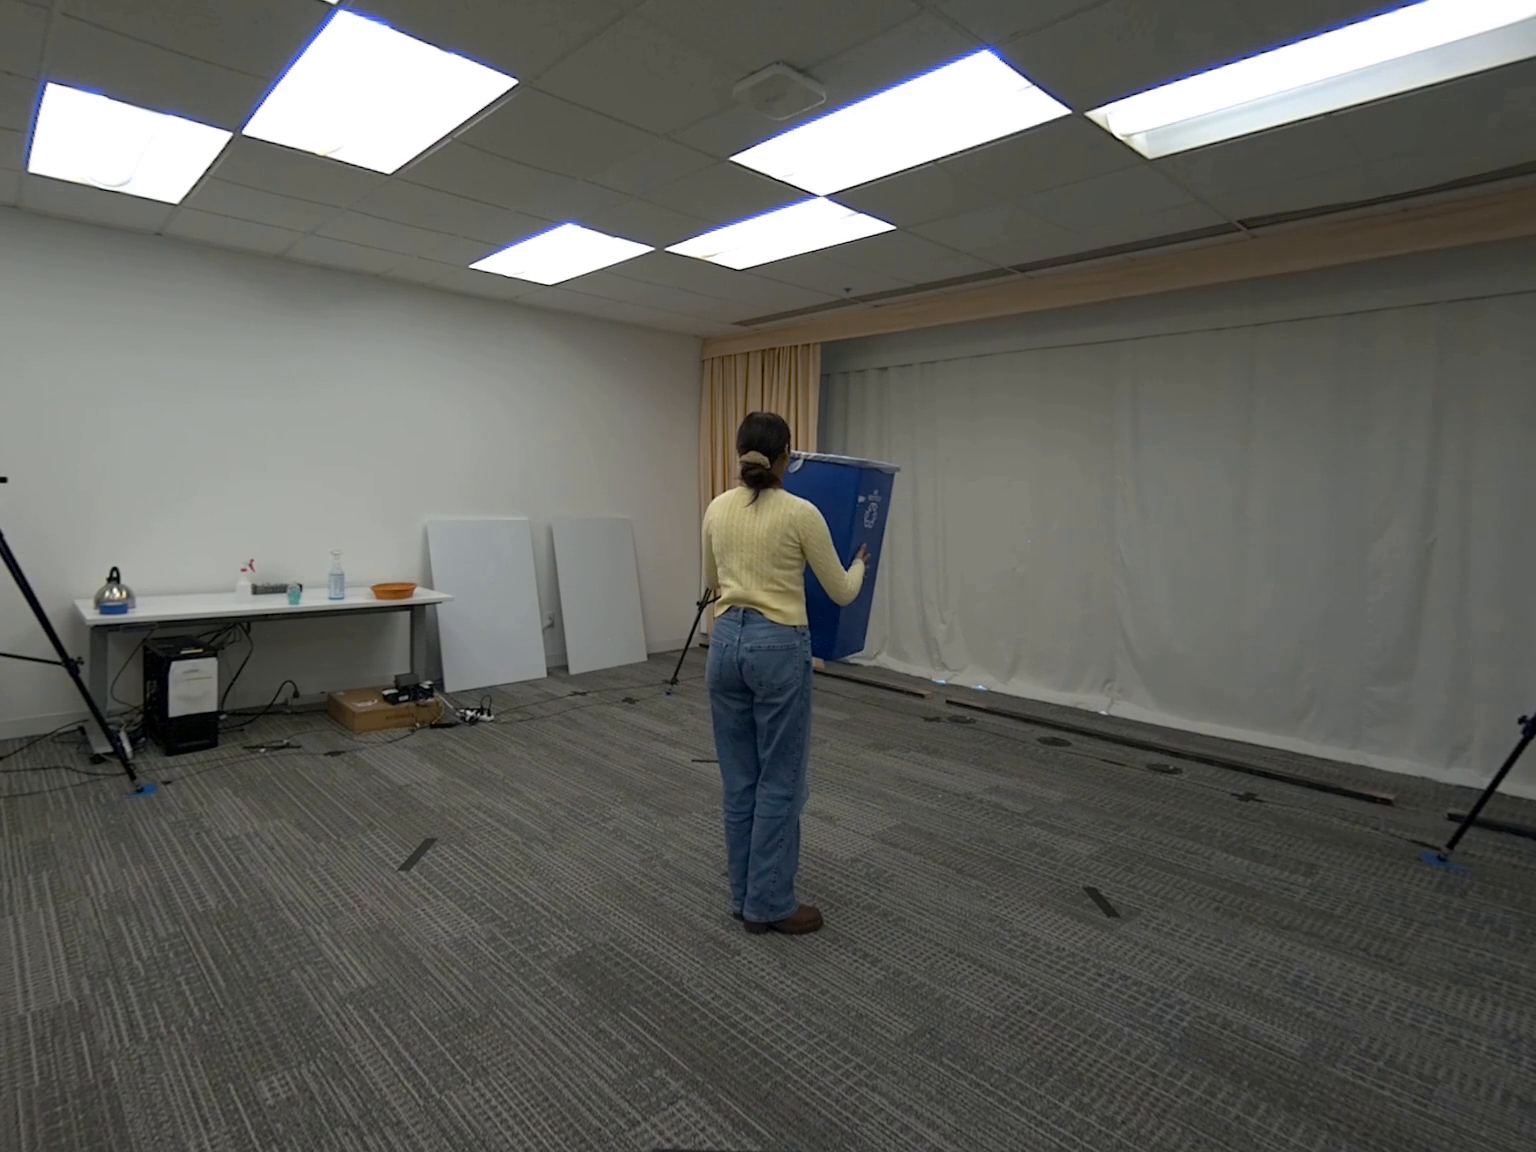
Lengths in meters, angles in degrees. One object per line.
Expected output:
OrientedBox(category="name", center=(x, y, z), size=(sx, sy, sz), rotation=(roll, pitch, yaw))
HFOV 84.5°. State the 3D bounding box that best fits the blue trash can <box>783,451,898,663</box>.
OrientedBox(category="blue trash can", center=(0.207, -0.086, 3.121), size=(0.387, 0.710, 0.367), rotation=(11, 7, 29))
